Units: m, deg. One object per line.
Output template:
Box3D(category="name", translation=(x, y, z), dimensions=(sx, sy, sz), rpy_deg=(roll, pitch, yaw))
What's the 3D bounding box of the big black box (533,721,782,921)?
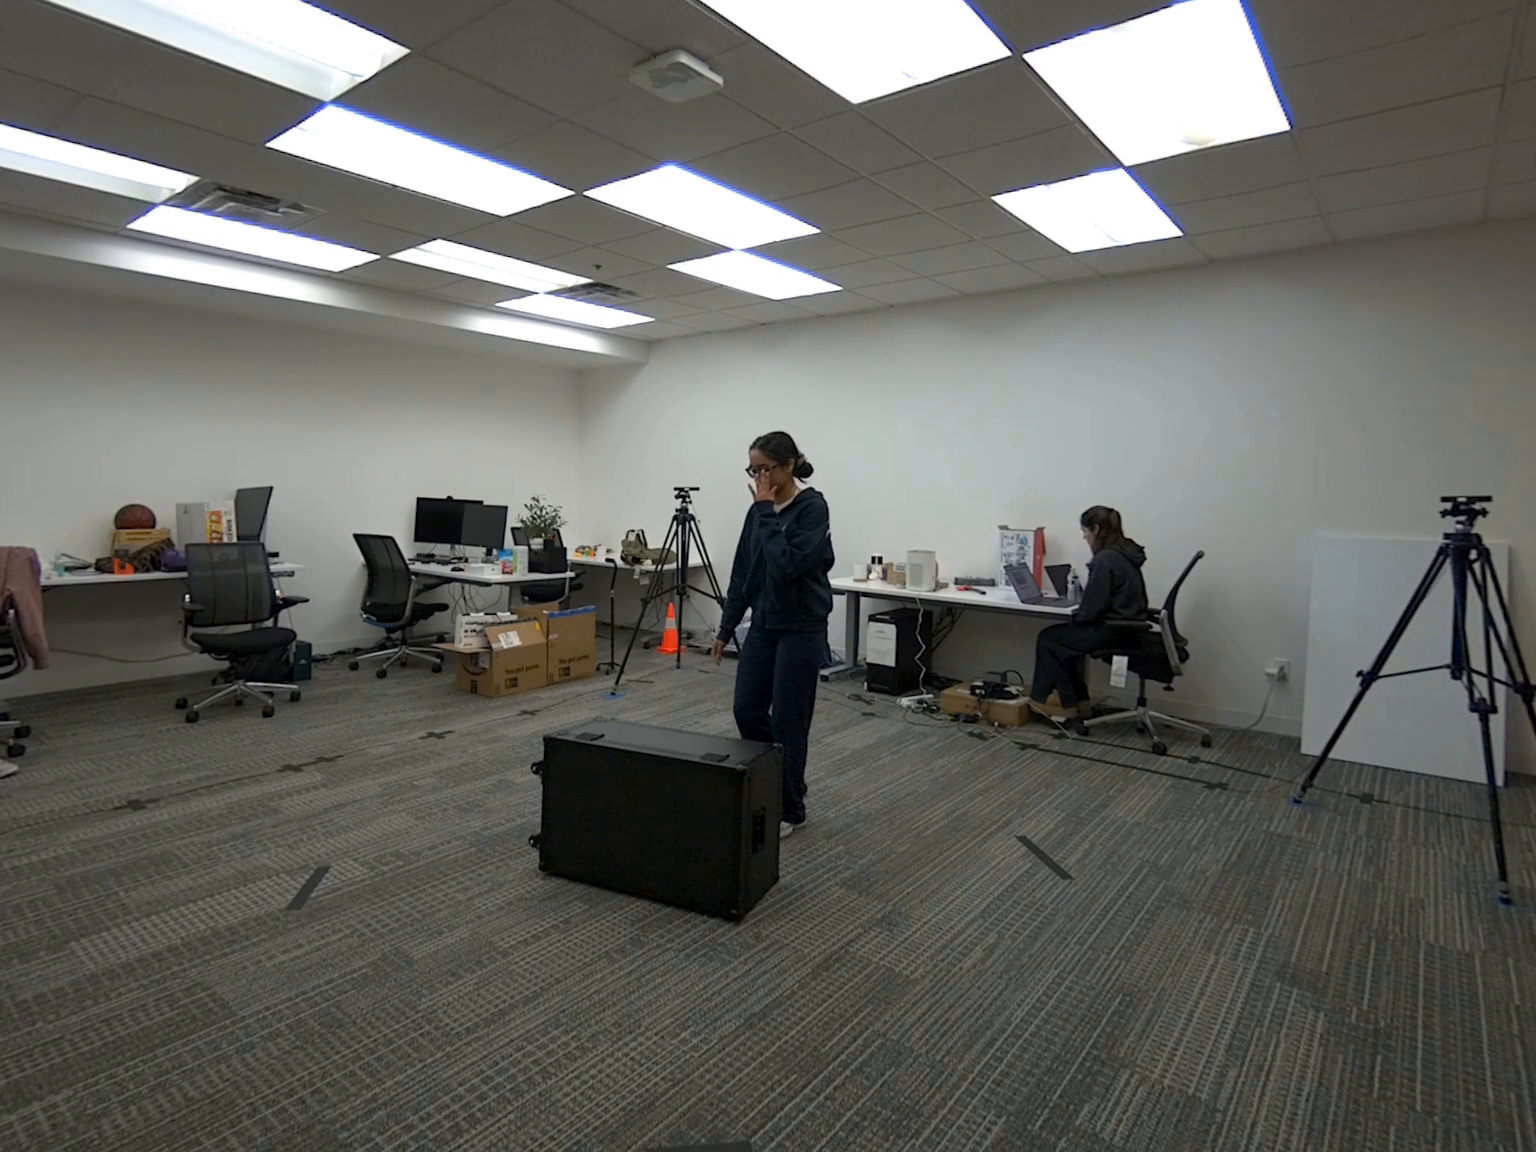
Box3D(category="big black box", translation=(-0.417, 0.813, 3.048), dimensions=(0.883, 0.521, 0.387), rpy_deg=(3, 1, 24))
